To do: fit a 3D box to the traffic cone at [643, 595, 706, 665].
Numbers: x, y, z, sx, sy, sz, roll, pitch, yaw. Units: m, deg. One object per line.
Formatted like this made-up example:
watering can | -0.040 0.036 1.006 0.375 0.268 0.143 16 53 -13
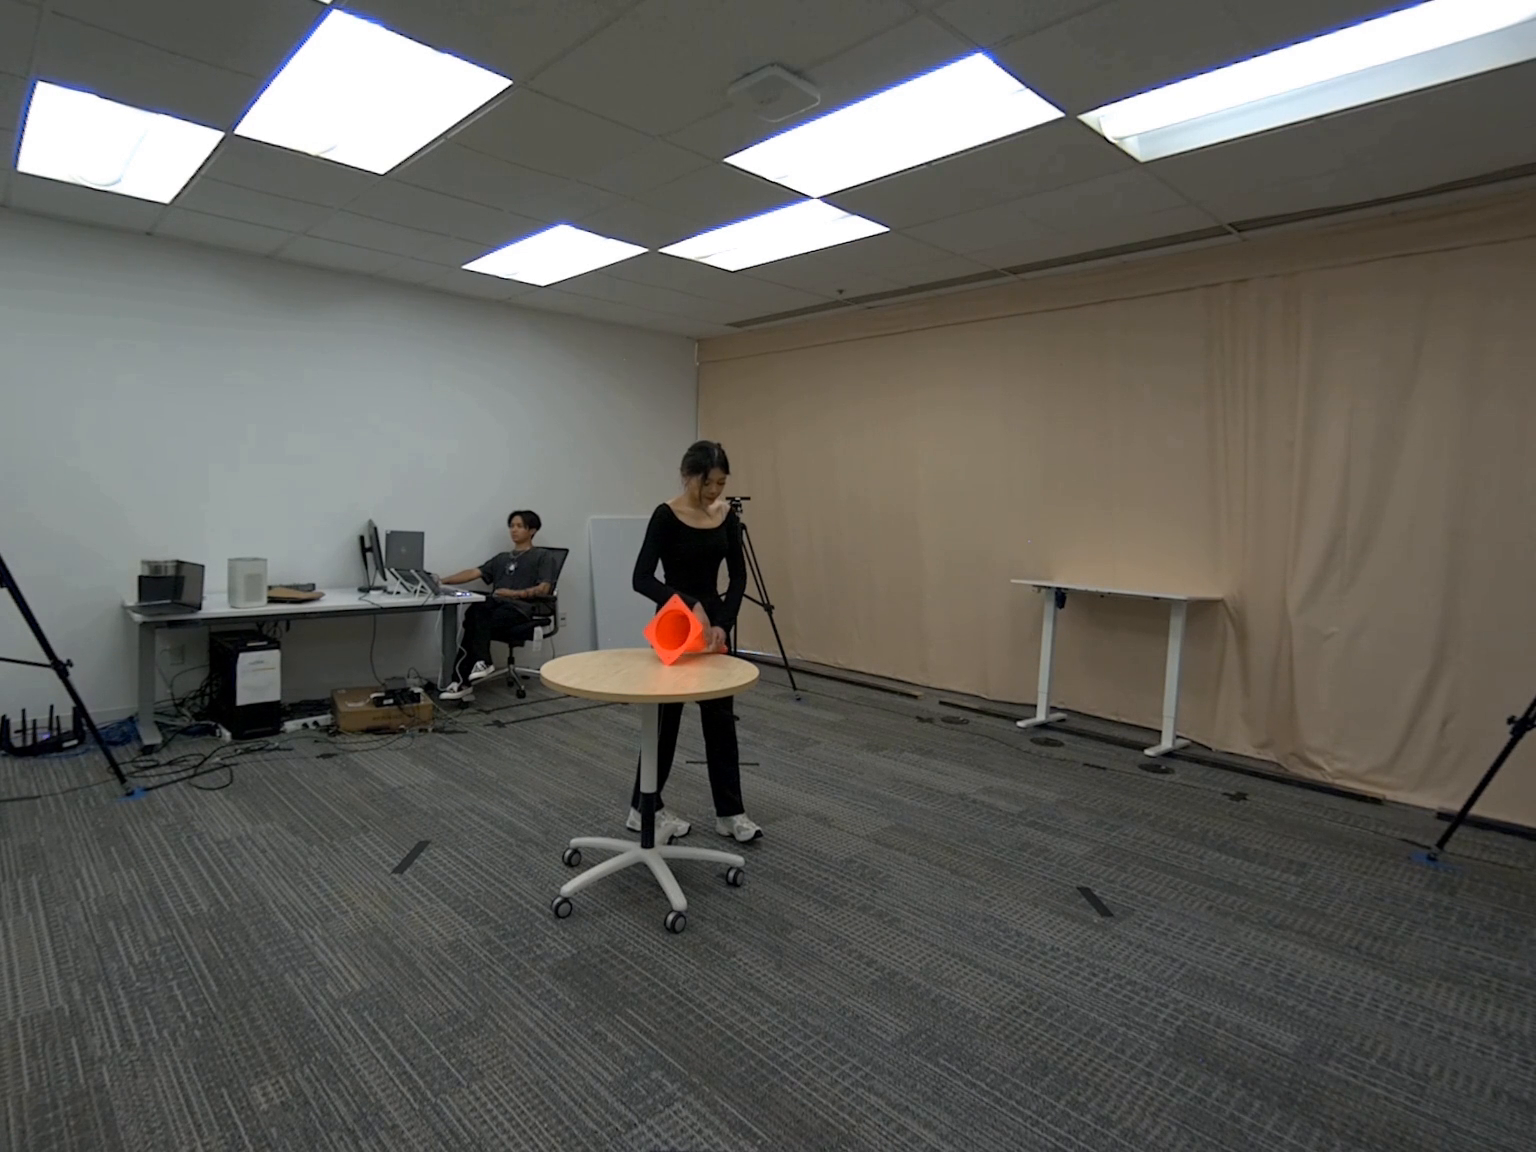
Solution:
traffic cone | -0.279 0.243 3.230 0.211 0.203 0.373 48 10 31
